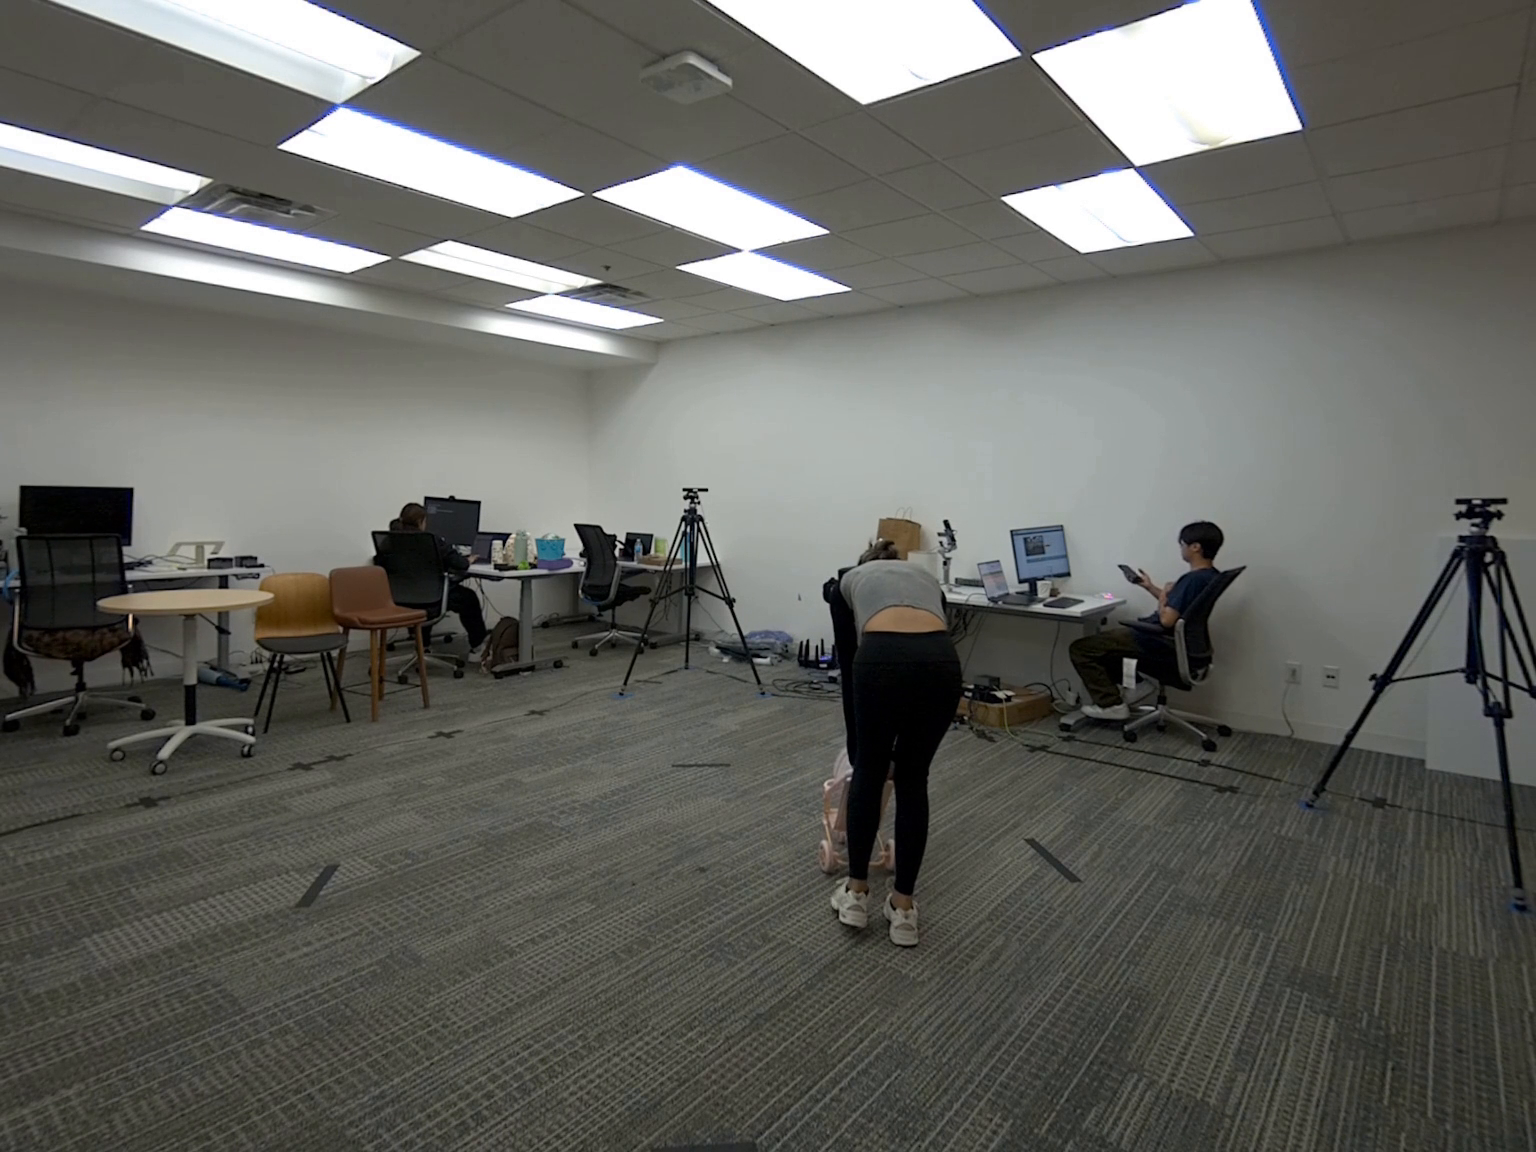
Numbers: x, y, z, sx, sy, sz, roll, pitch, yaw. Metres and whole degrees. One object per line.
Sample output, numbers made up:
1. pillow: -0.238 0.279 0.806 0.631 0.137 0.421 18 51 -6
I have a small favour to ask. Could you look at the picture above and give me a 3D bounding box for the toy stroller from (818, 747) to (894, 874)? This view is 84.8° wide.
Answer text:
1. toy stroller: 0.327 0.850 3.185 0.280 0.527 0.348 3 19 -6
